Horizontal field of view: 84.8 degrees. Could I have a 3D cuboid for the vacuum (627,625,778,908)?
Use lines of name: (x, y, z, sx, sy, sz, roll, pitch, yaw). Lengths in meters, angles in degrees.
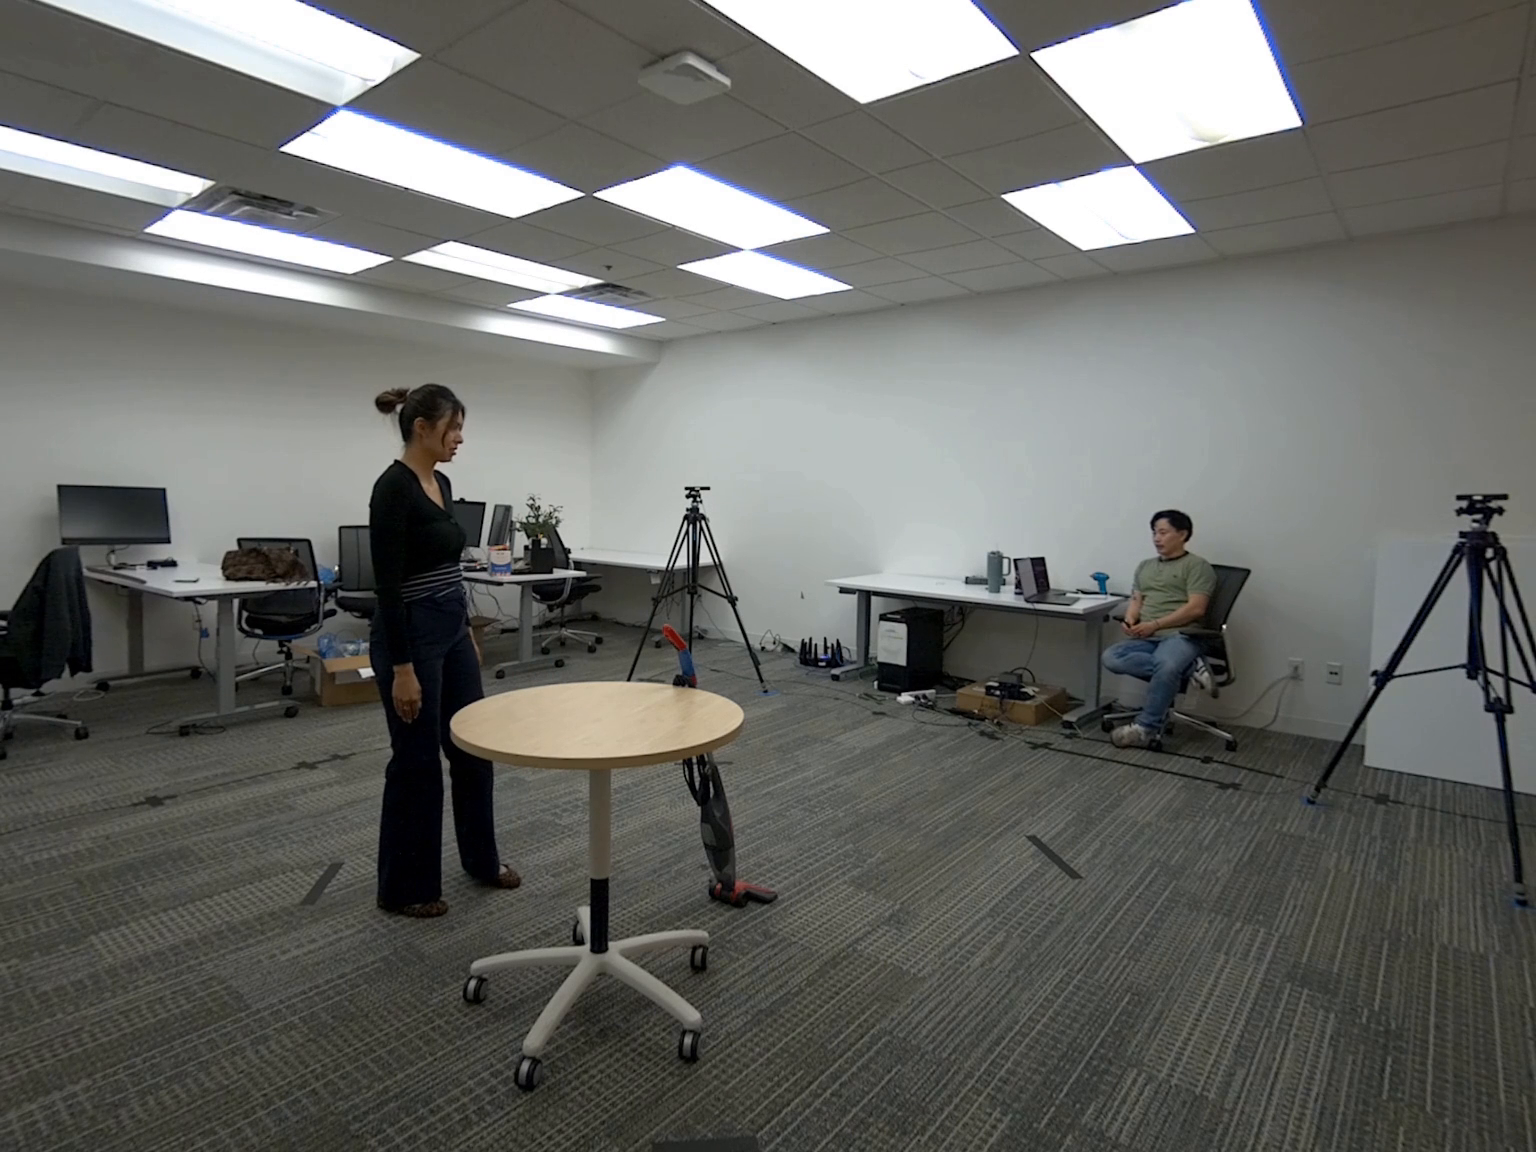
vacuum: (-0.209, 0.623, 2.703, 0.260, 1.025, 0.143, 3, 26, 35)
